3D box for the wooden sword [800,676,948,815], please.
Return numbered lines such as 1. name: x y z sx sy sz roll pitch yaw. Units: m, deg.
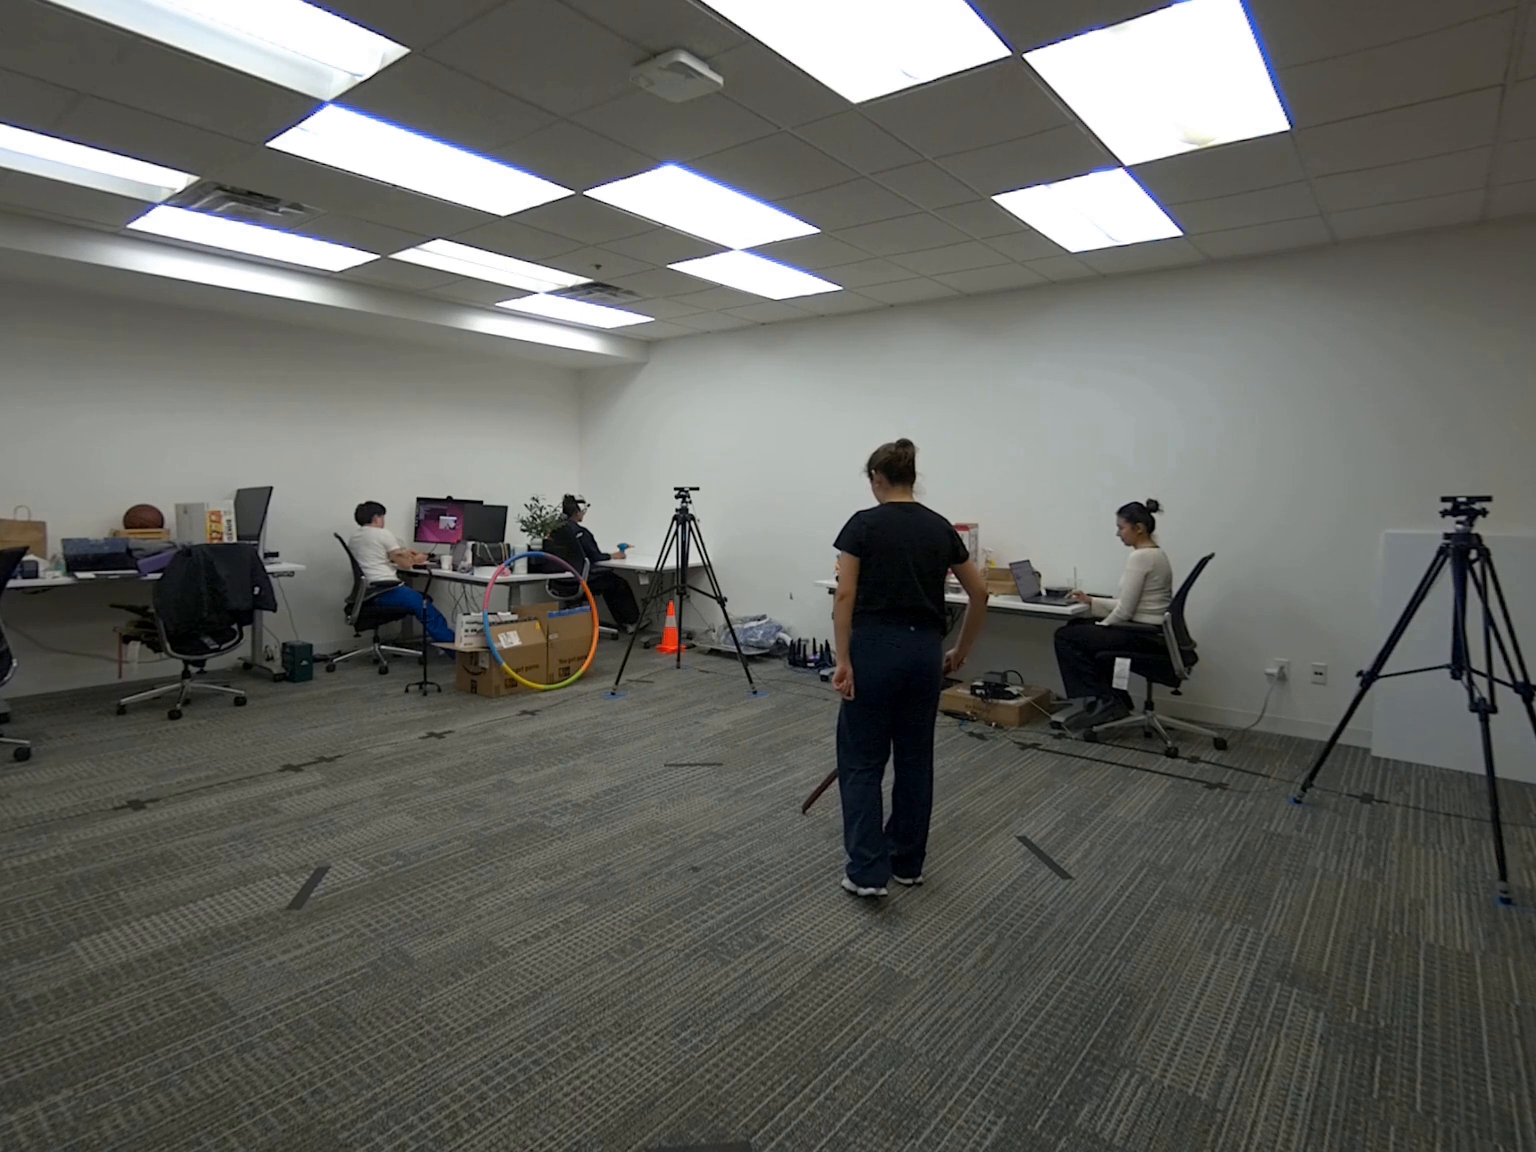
1. wooden sword: 0.437 0.649 3.436 0.023 1.021 0.053 21 33 -30
